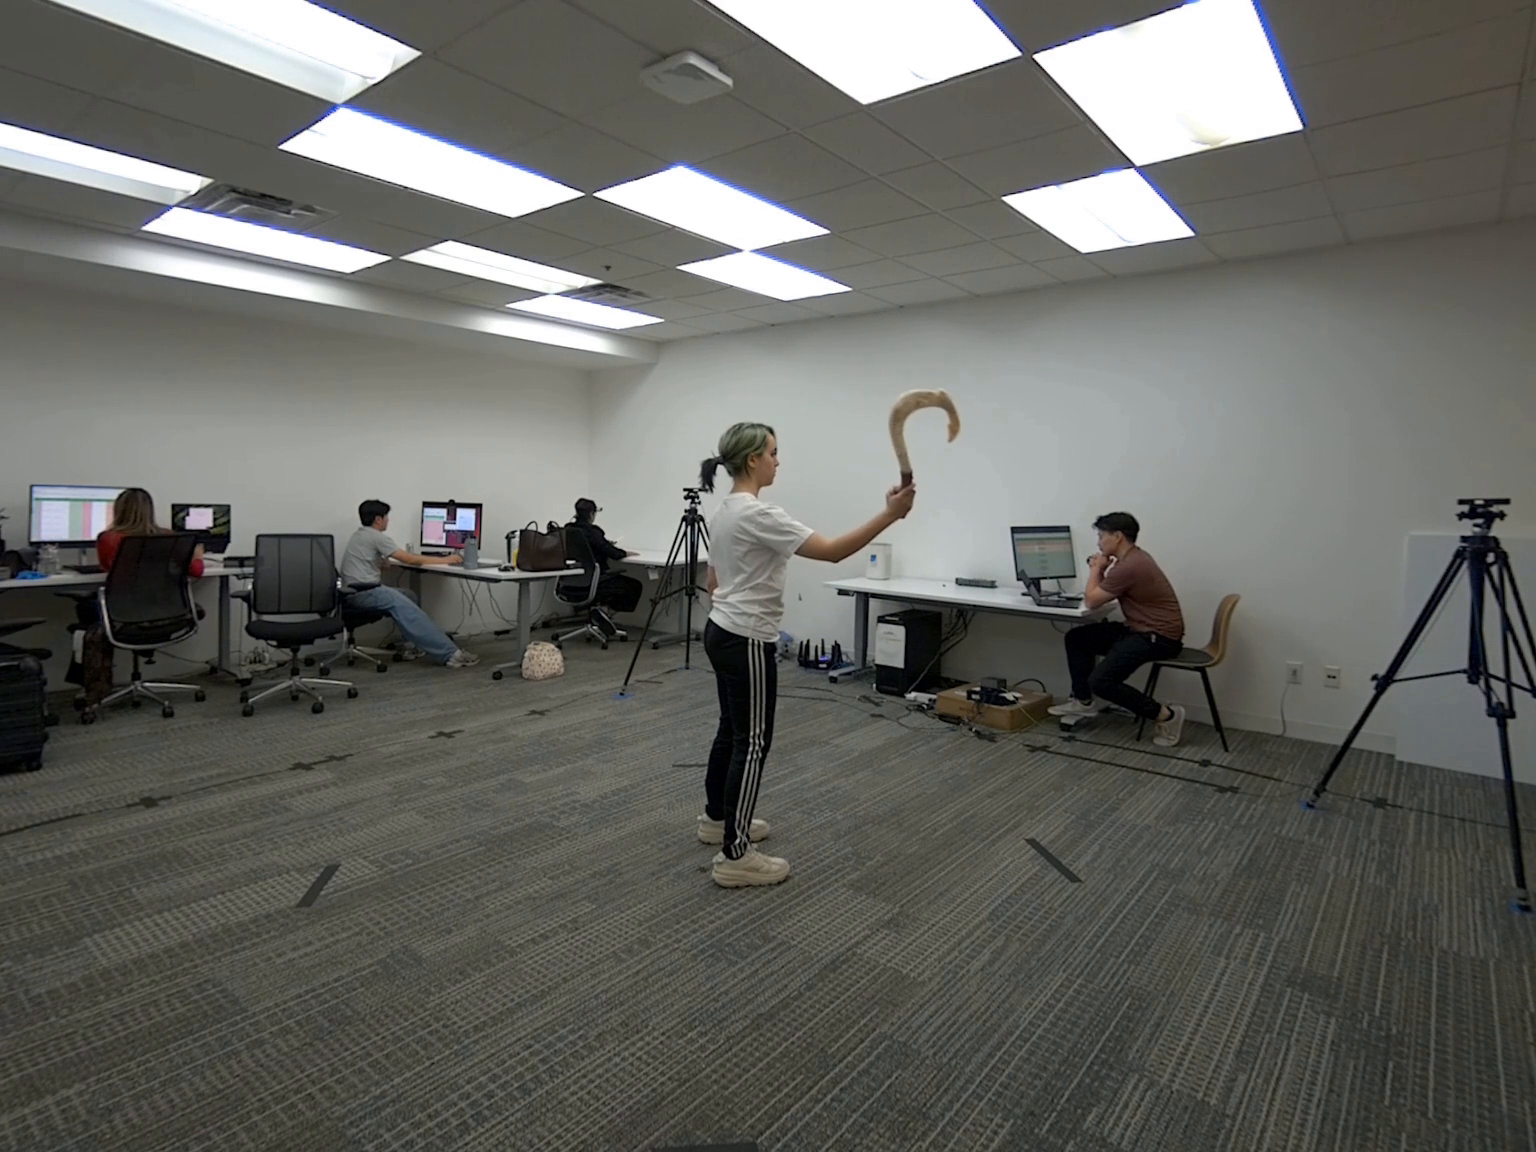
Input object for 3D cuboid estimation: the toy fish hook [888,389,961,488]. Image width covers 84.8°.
[{"bbox_3d":[0.492,-0.379,2.828,0.227,0.492,0.049,6,40,10],"label":"toy fish hook"}]
